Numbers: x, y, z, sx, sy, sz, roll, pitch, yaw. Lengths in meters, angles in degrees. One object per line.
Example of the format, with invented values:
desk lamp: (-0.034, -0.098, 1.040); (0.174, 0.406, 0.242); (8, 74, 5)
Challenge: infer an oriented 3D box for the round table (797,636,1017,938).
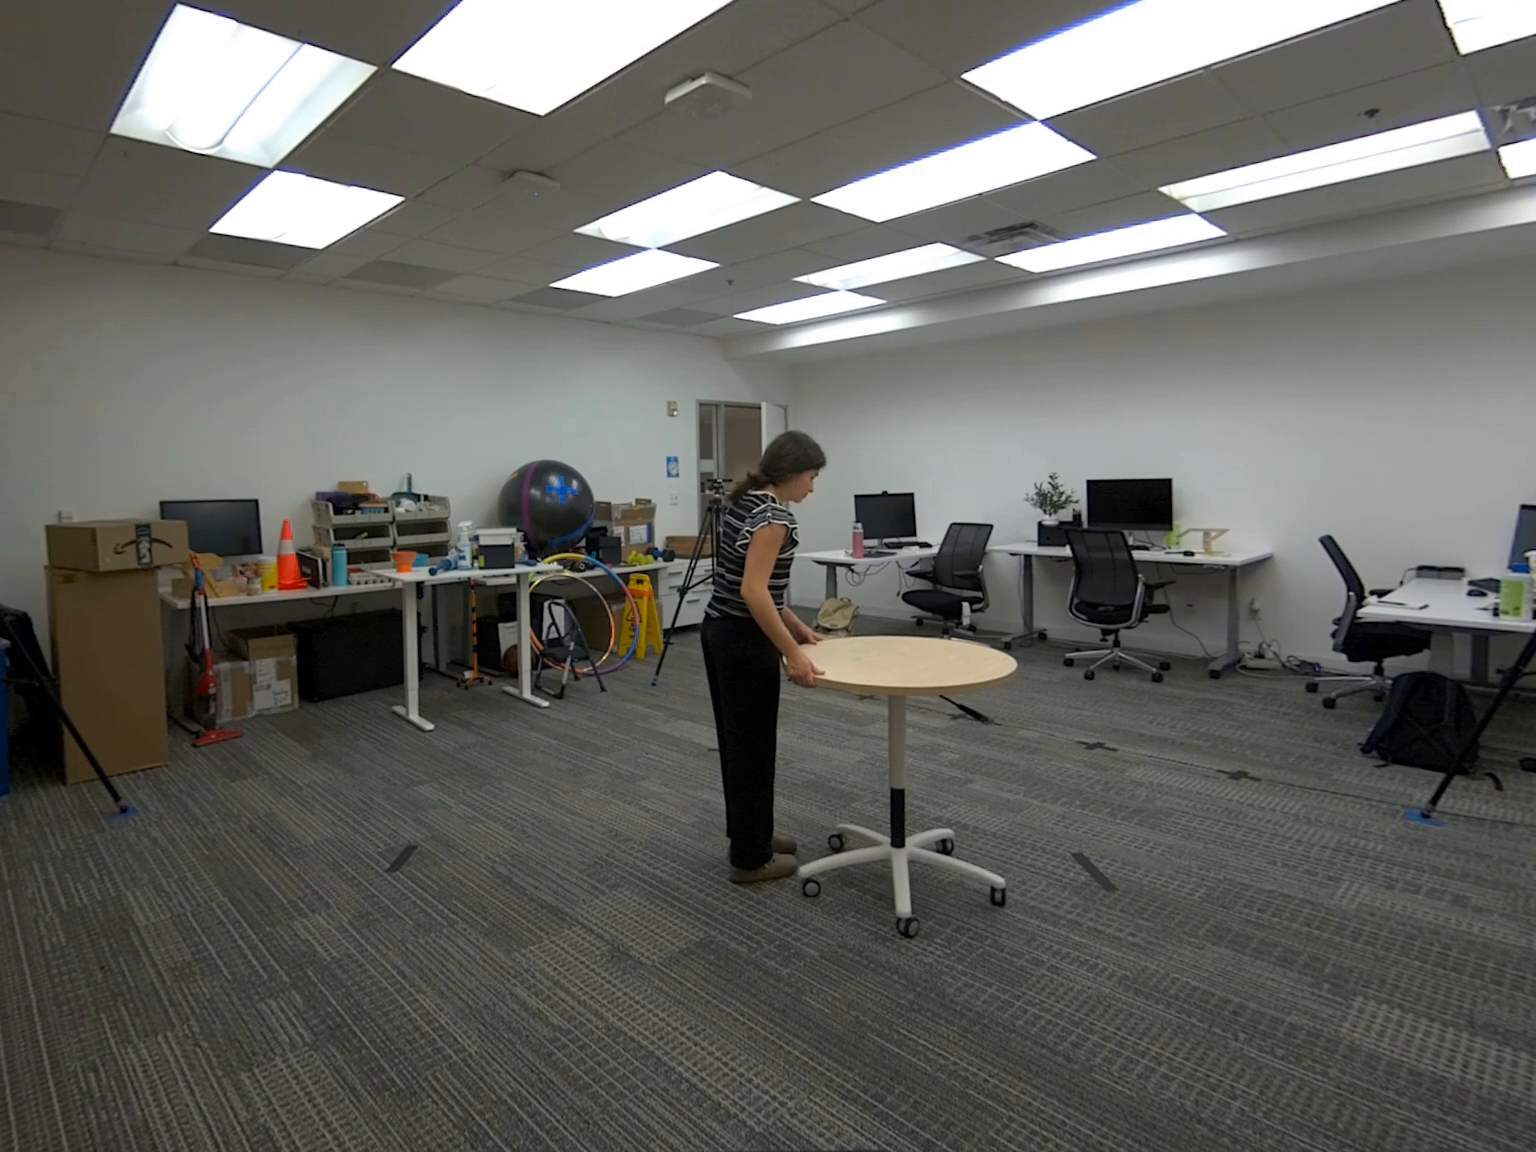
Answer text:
round table: (0.428, 0.663, 2.894); (0.784, 0.783, 0.789); (-1, 5, -2)
